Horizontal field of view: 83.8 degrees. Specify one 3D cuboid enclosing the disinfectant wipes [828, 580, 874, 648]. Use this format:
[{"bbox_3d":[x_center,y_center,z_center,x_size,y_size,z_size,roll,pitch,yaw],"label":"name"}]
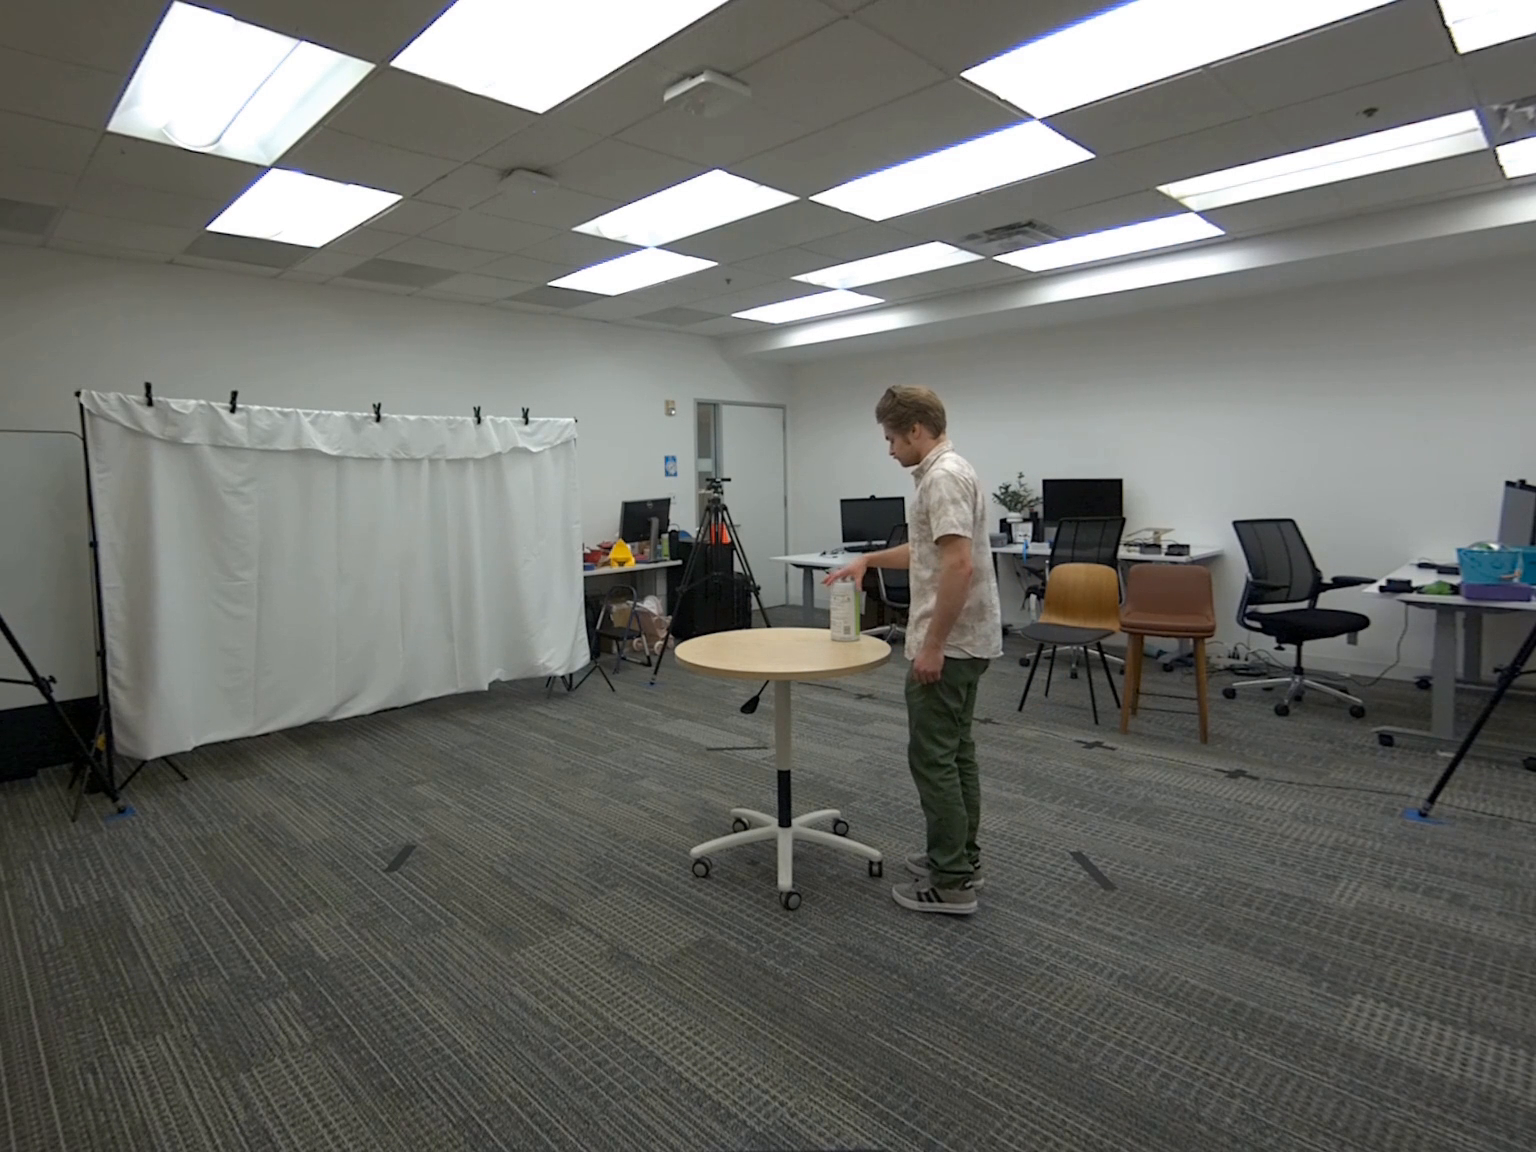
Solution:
[{"bbox_3d":[0.287,0.129,3.166,0.118,0.217,0.118,-2,2,-2],"label":"disinfectant wipes"}]
